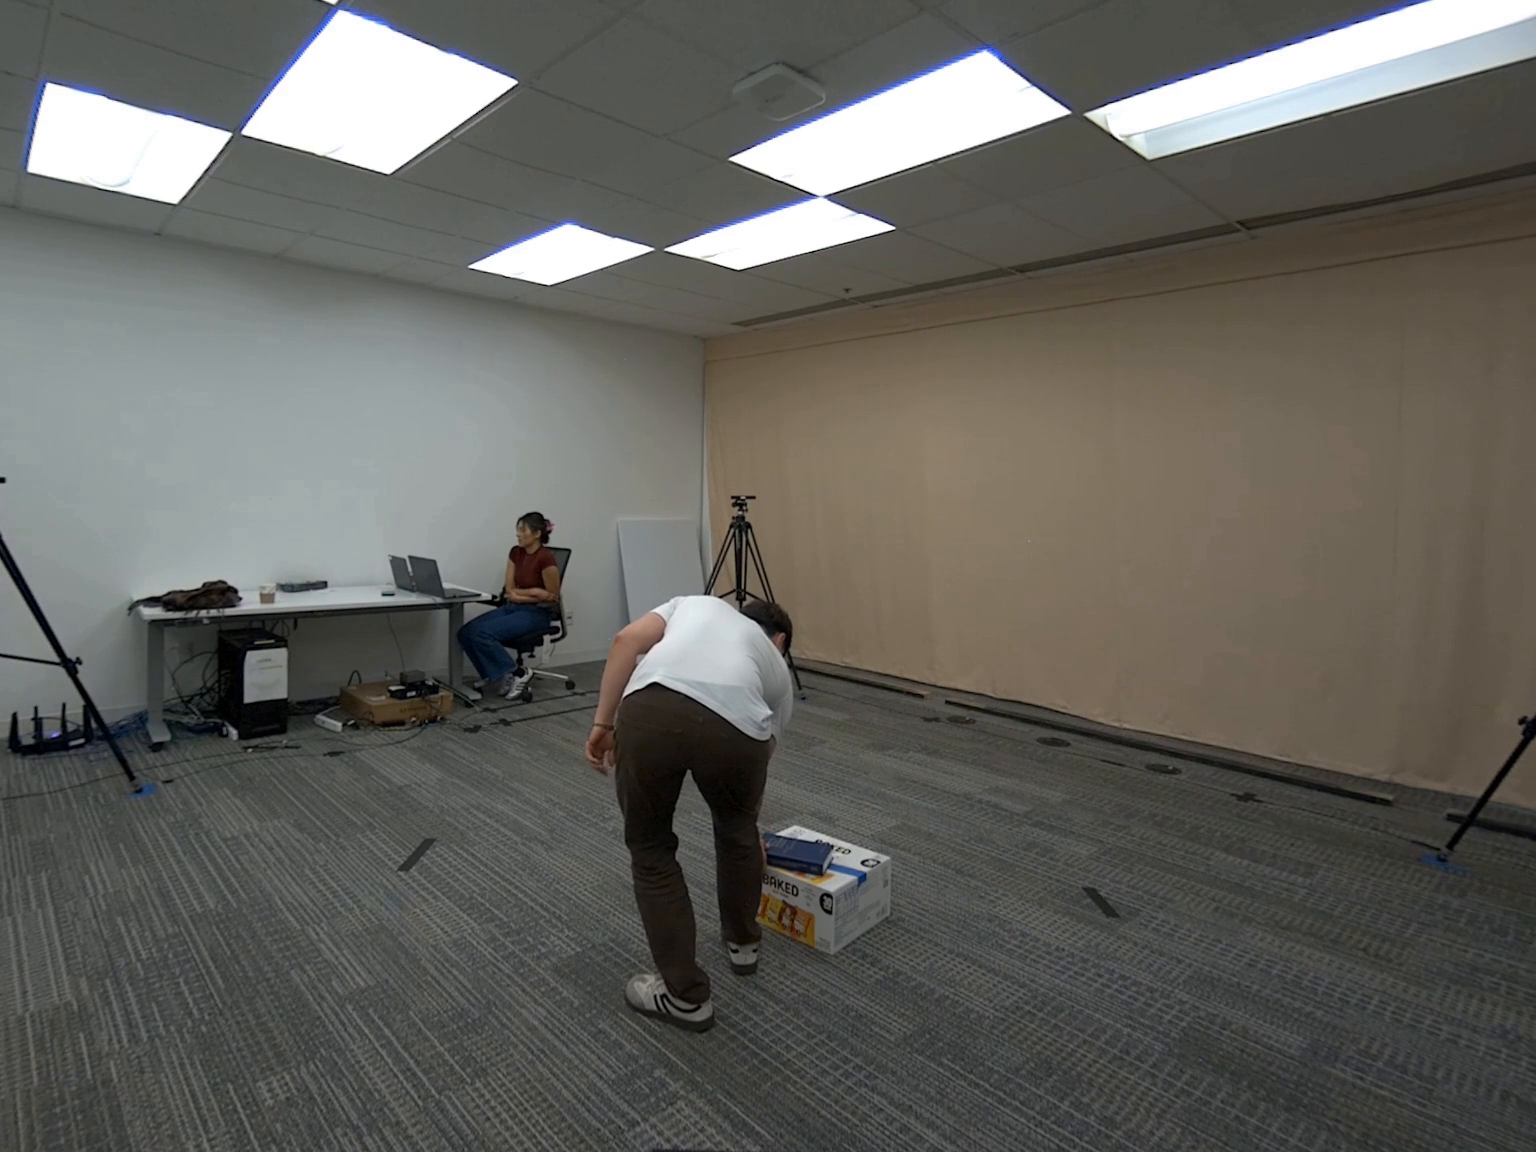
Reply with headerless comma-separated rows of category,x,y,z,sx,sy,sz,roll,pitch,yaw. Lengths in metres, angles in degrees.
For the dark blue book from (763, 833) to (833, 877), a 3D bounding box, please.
dark blue book,0.074,0.922,2.777,0.249,0.045,0.161,4,5,18
